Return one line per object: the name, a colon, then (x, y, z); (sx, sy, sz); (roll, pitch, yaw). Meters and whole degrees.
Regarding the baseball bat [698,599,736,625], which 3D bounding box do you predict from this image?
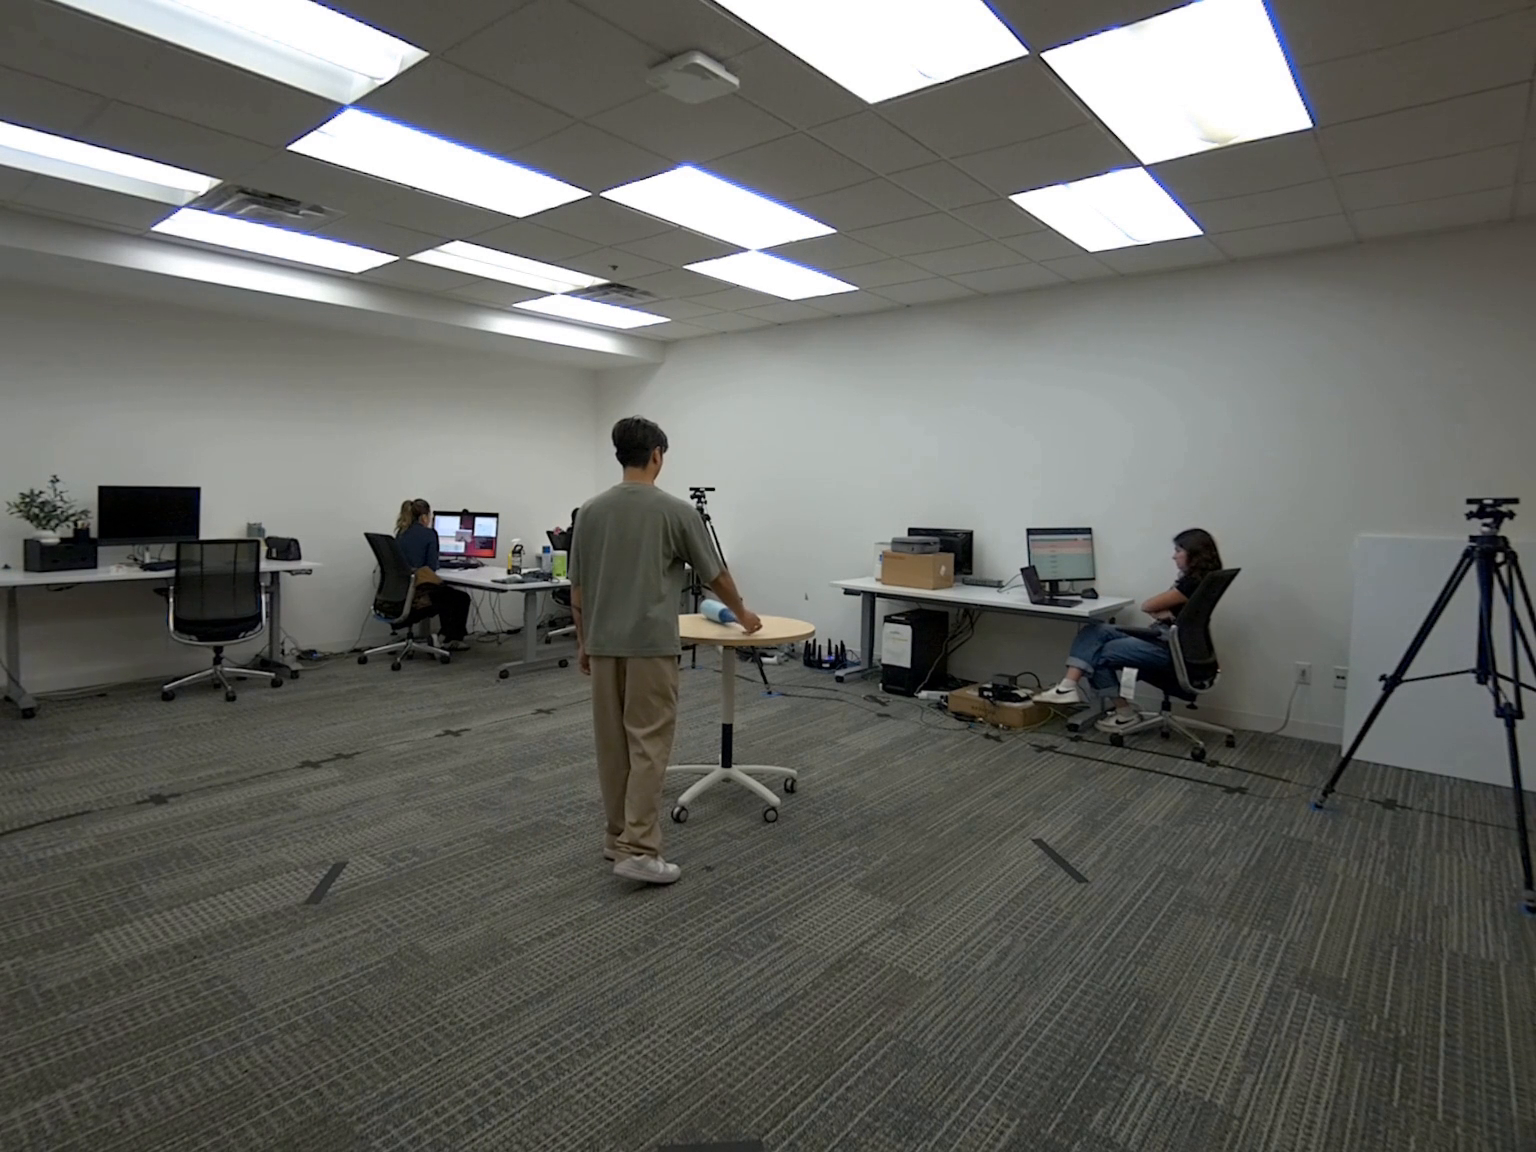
baseball bat: (-0.197, 0.175, 3.800); (0.087, 0.089, 0.556); (-1, 6, -22)
